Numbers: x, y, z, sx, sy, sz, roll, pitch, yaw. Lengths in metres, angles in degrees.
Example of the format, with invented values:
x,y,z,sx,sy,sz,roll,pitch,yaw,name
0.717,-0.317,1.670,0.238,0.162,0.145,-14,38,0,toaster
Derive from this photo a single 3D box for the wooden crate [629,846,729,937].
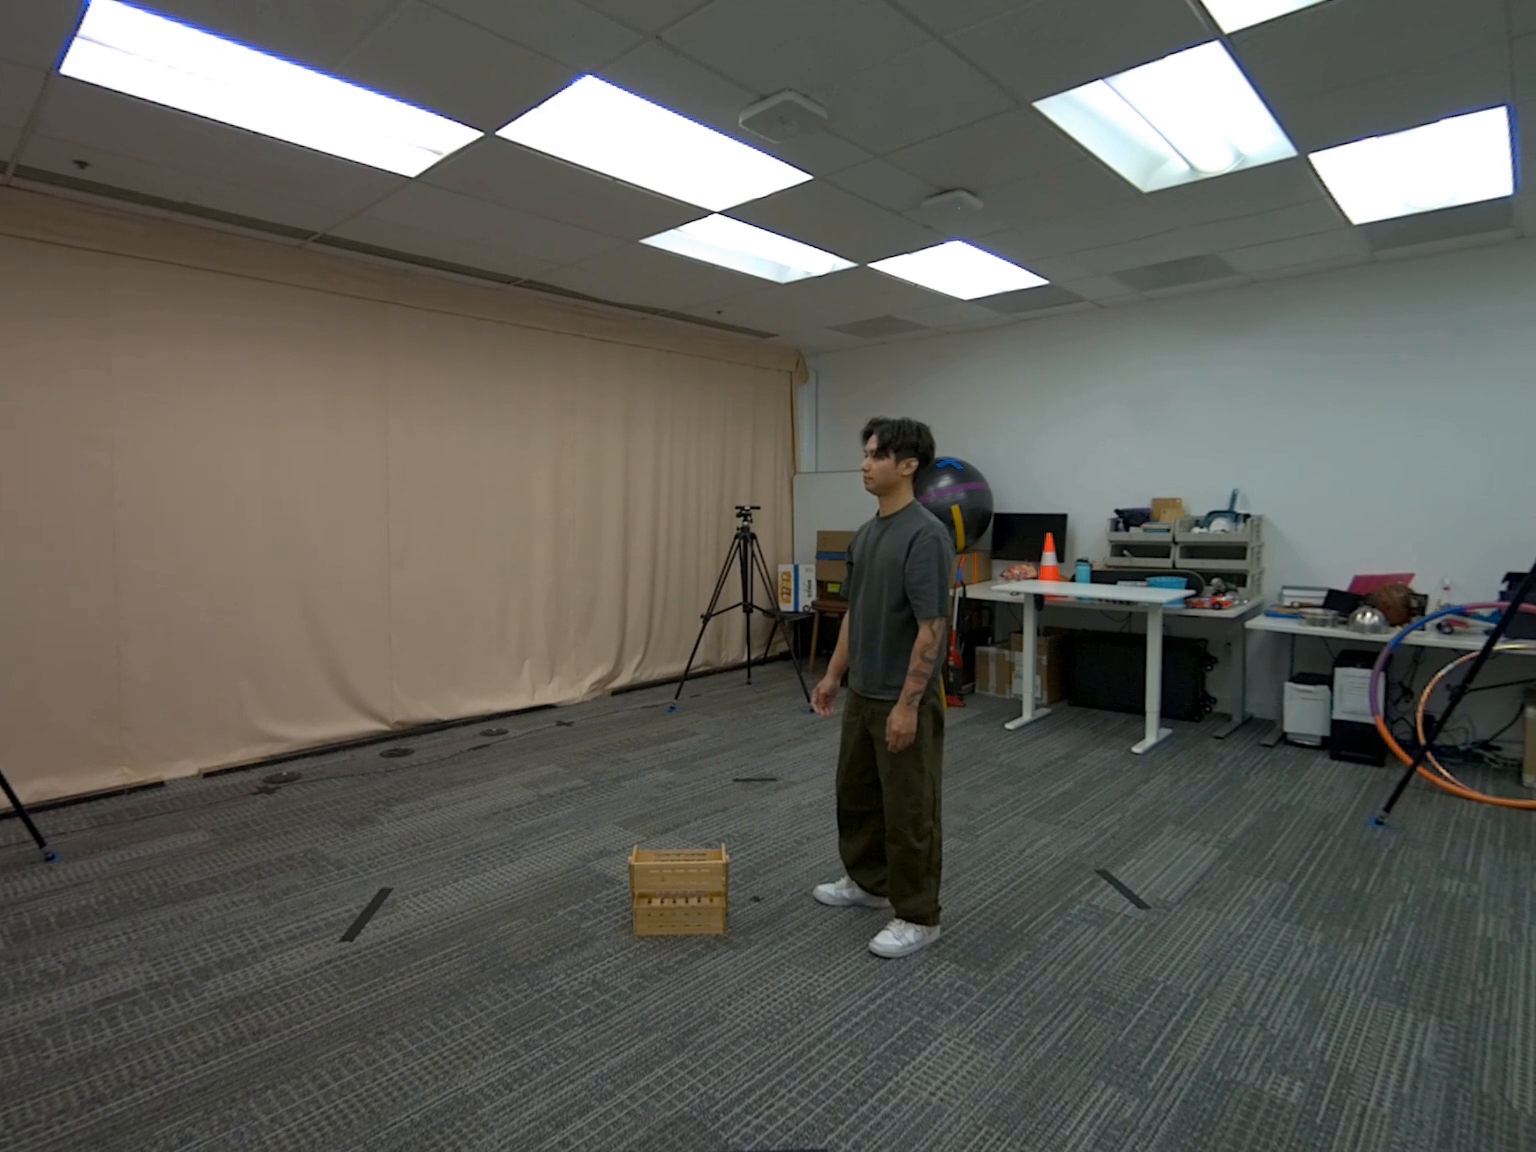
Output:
x,y,z,sx,sy,sz,roll,pitch,yaw,name
-0.299,1.025,2.836,0.323,0.273,0.304,-1,4,-4,wooden crate
